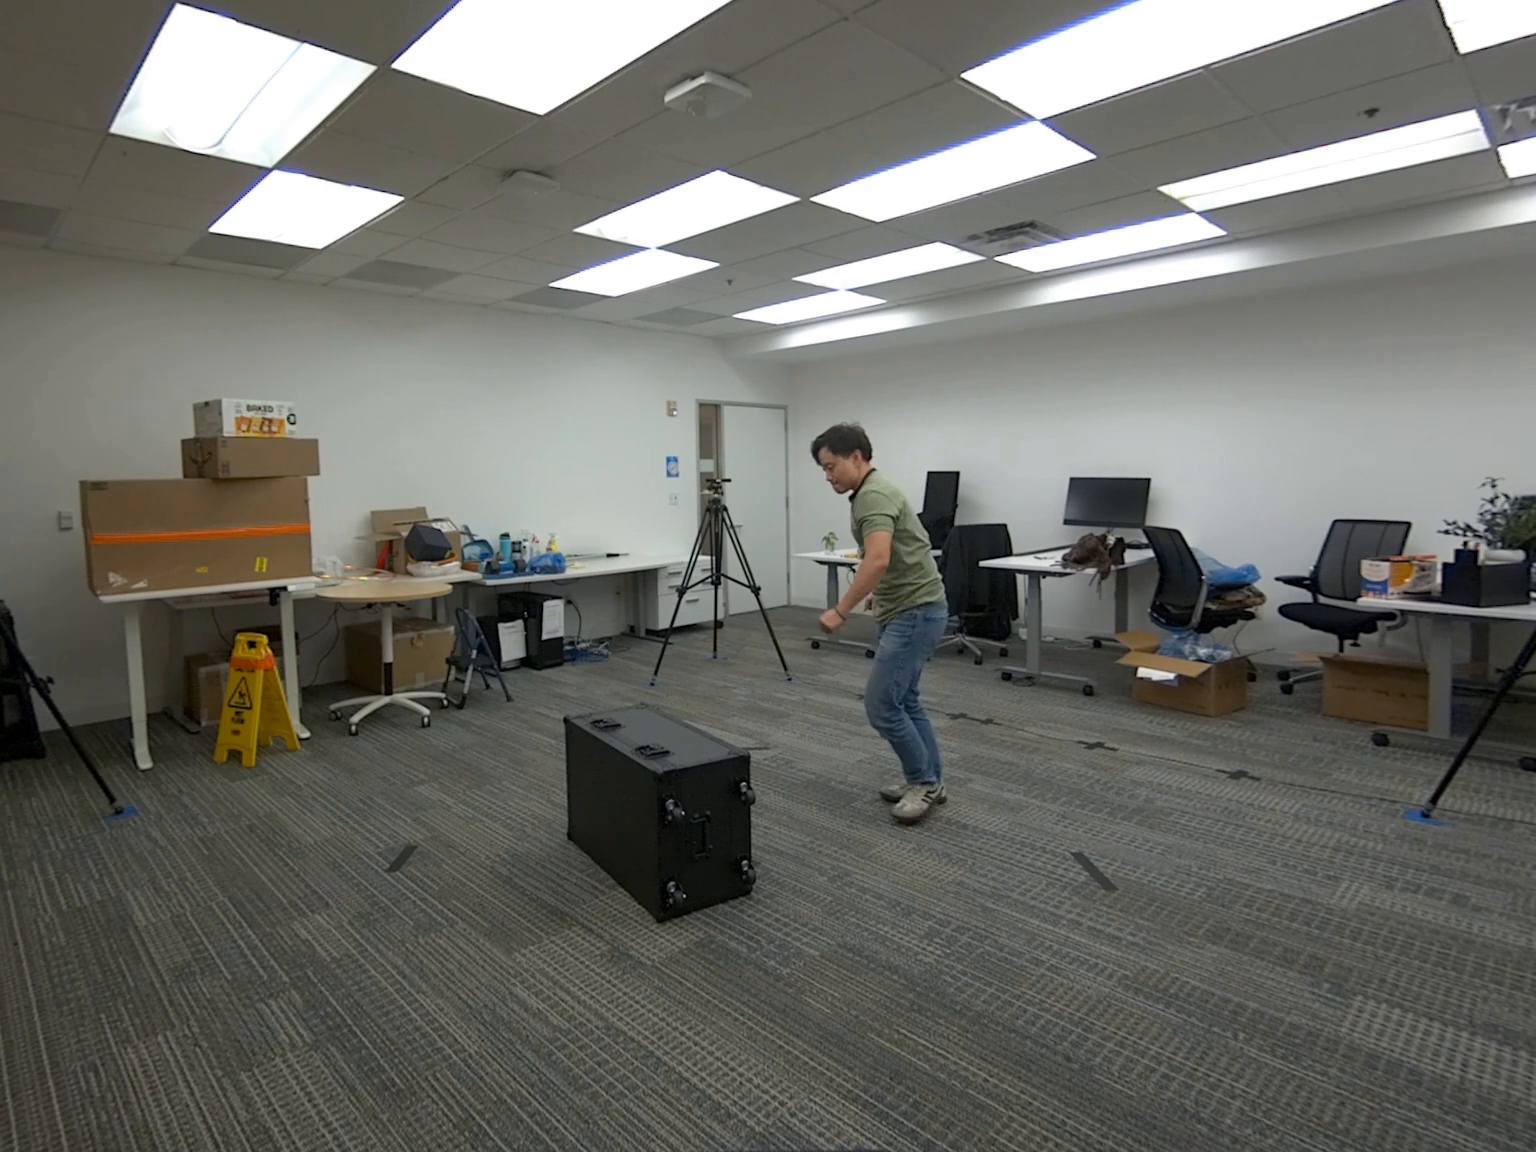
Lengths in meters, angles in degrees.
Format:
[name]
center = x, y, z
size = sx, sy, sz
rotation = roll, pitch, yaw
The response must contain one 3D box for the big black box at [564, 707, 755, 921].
[big black box]
center = -0.393, 0.813, 3.076
size = 0.386, 0.519, 0.887
rotation = -4, 7, -33
